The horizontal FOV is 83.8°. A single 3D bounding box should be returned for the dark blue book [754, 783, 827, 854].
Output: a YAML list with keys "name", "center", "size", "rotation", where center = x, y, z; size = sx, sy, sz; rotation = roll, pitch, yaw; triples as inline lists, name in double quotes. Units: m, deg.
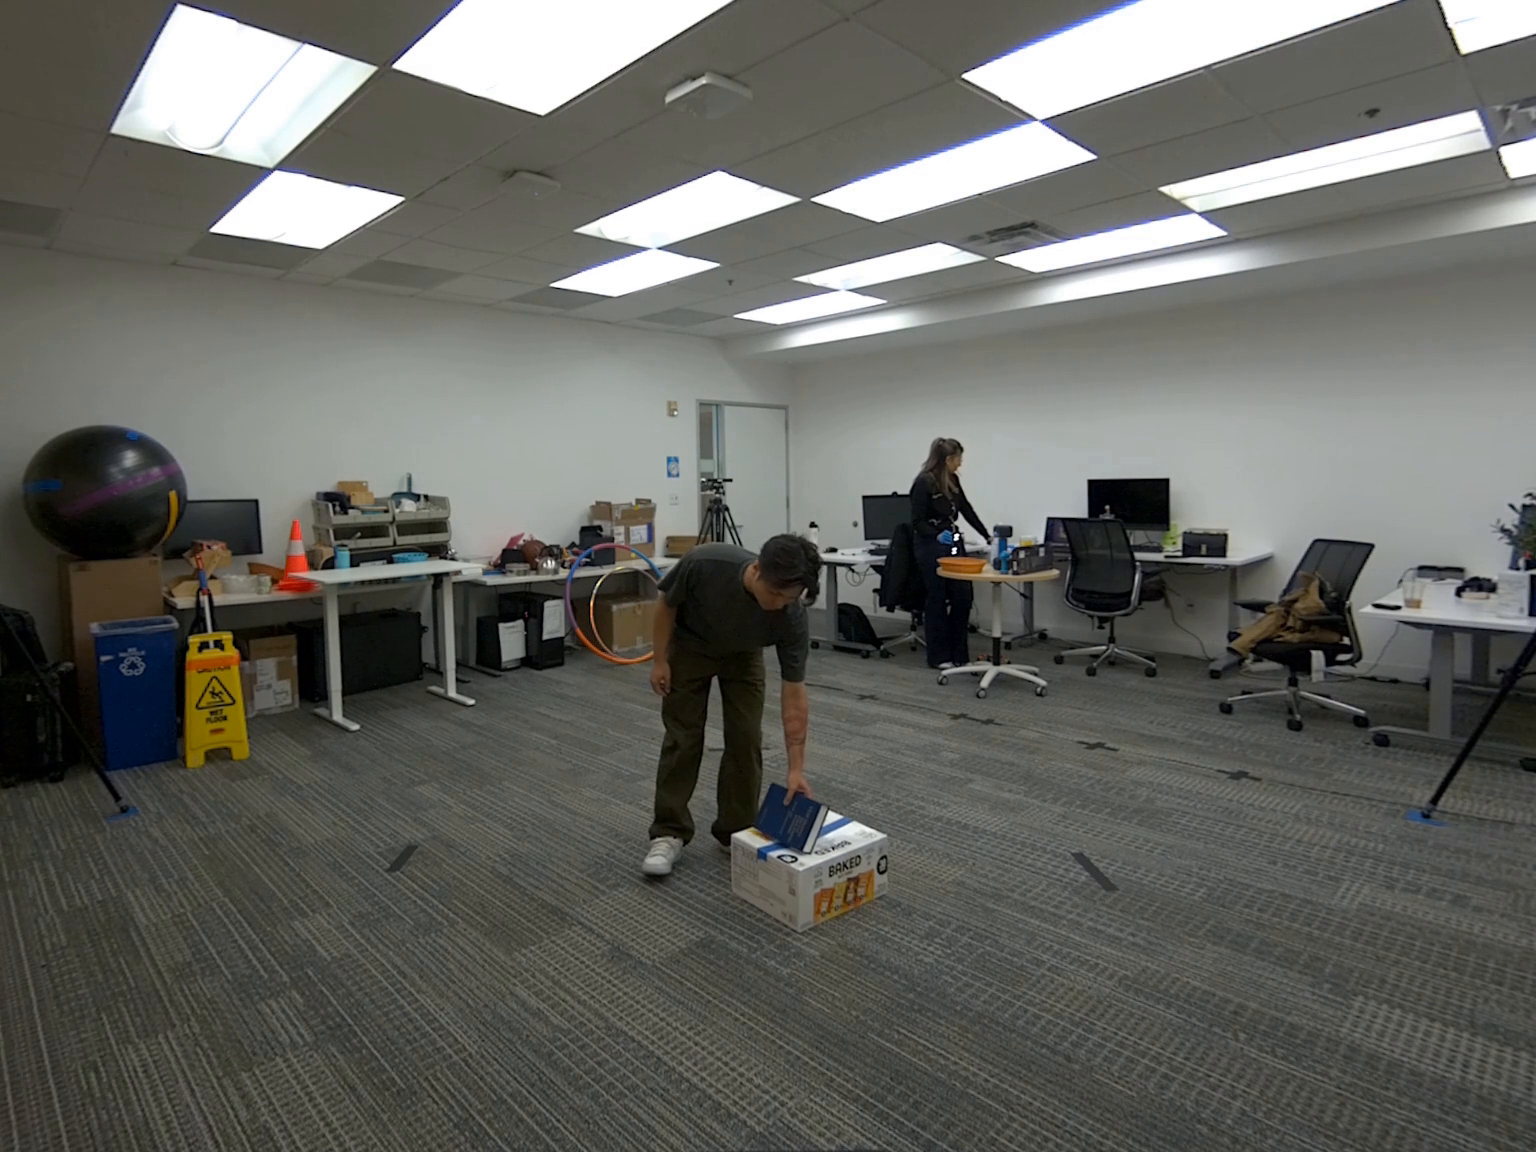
- name: "dark blue book"
  center: [0.078, 0.797, 2.819]
  size: [0.043, 0.164, 0.253]
  rotation: [35, -17, -38]
